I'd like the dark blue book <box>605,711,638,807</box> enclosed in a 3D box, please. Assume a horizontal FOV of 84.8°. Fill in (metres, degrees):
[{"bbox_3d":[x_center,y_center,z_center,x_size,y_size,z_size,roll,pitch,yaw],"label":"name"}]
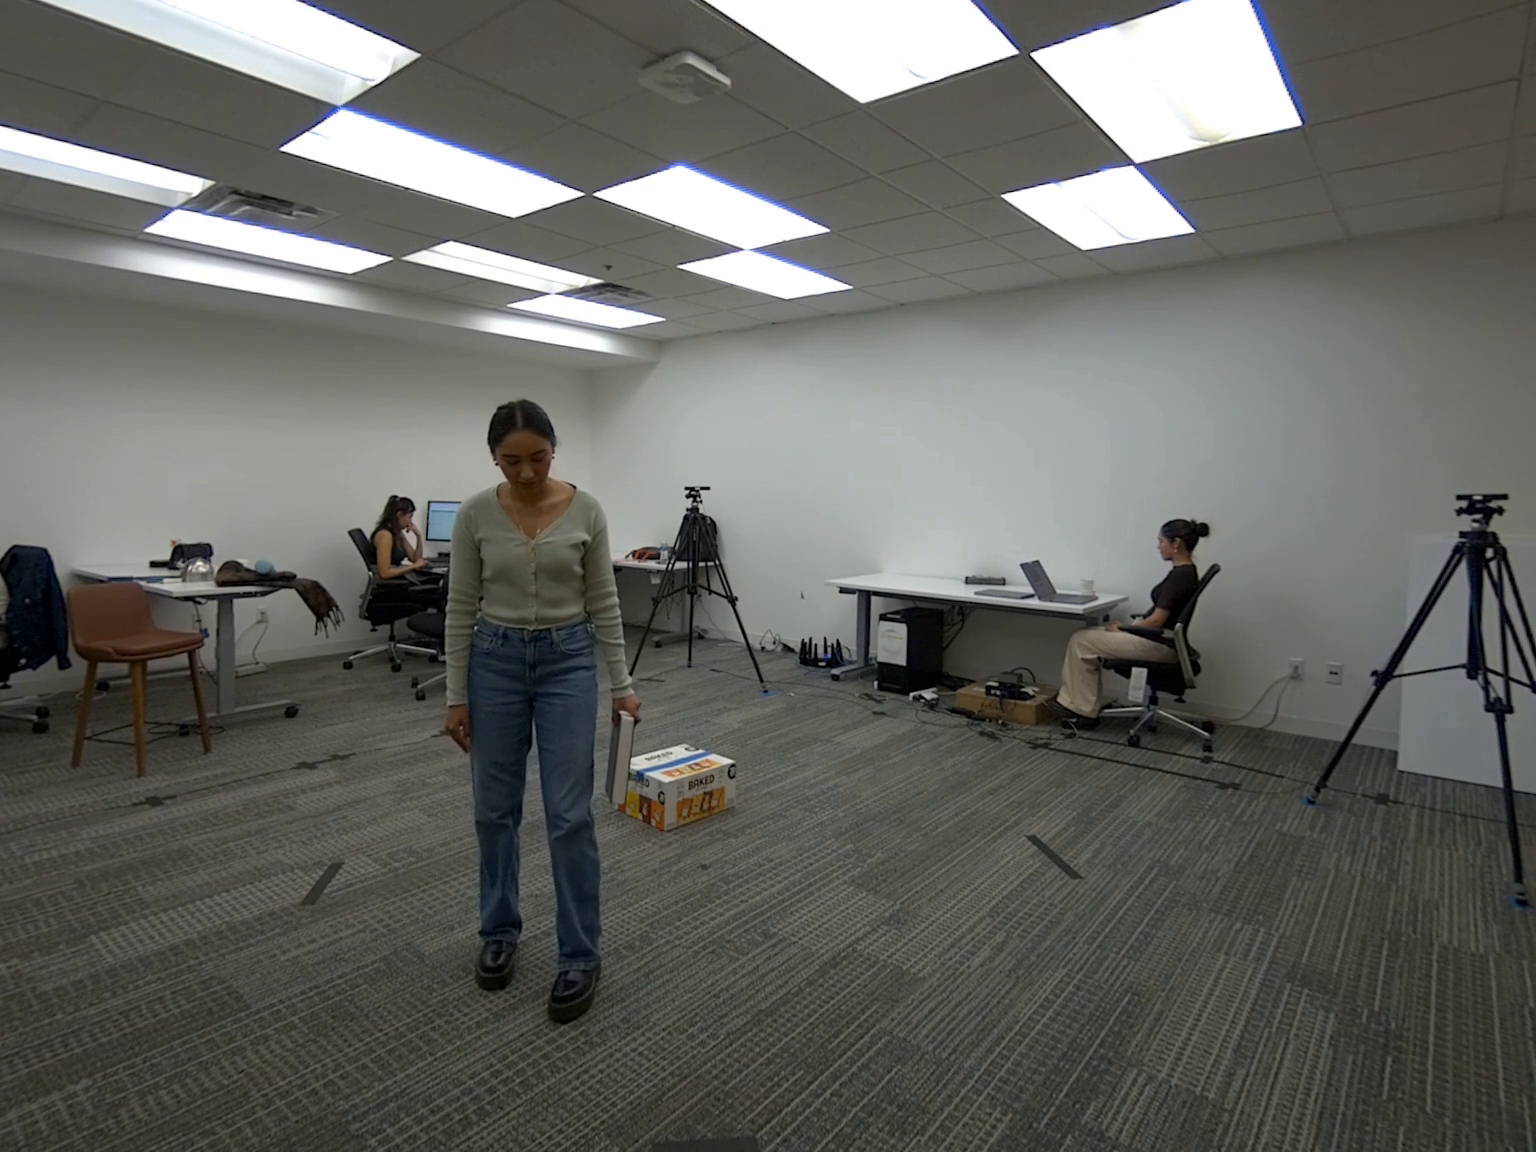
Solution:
[{"bbox_3d":[-0.441,0.519,2.445,0.044,0.245,0.165,5,-2,-15],"label":"dark blue book"}]
